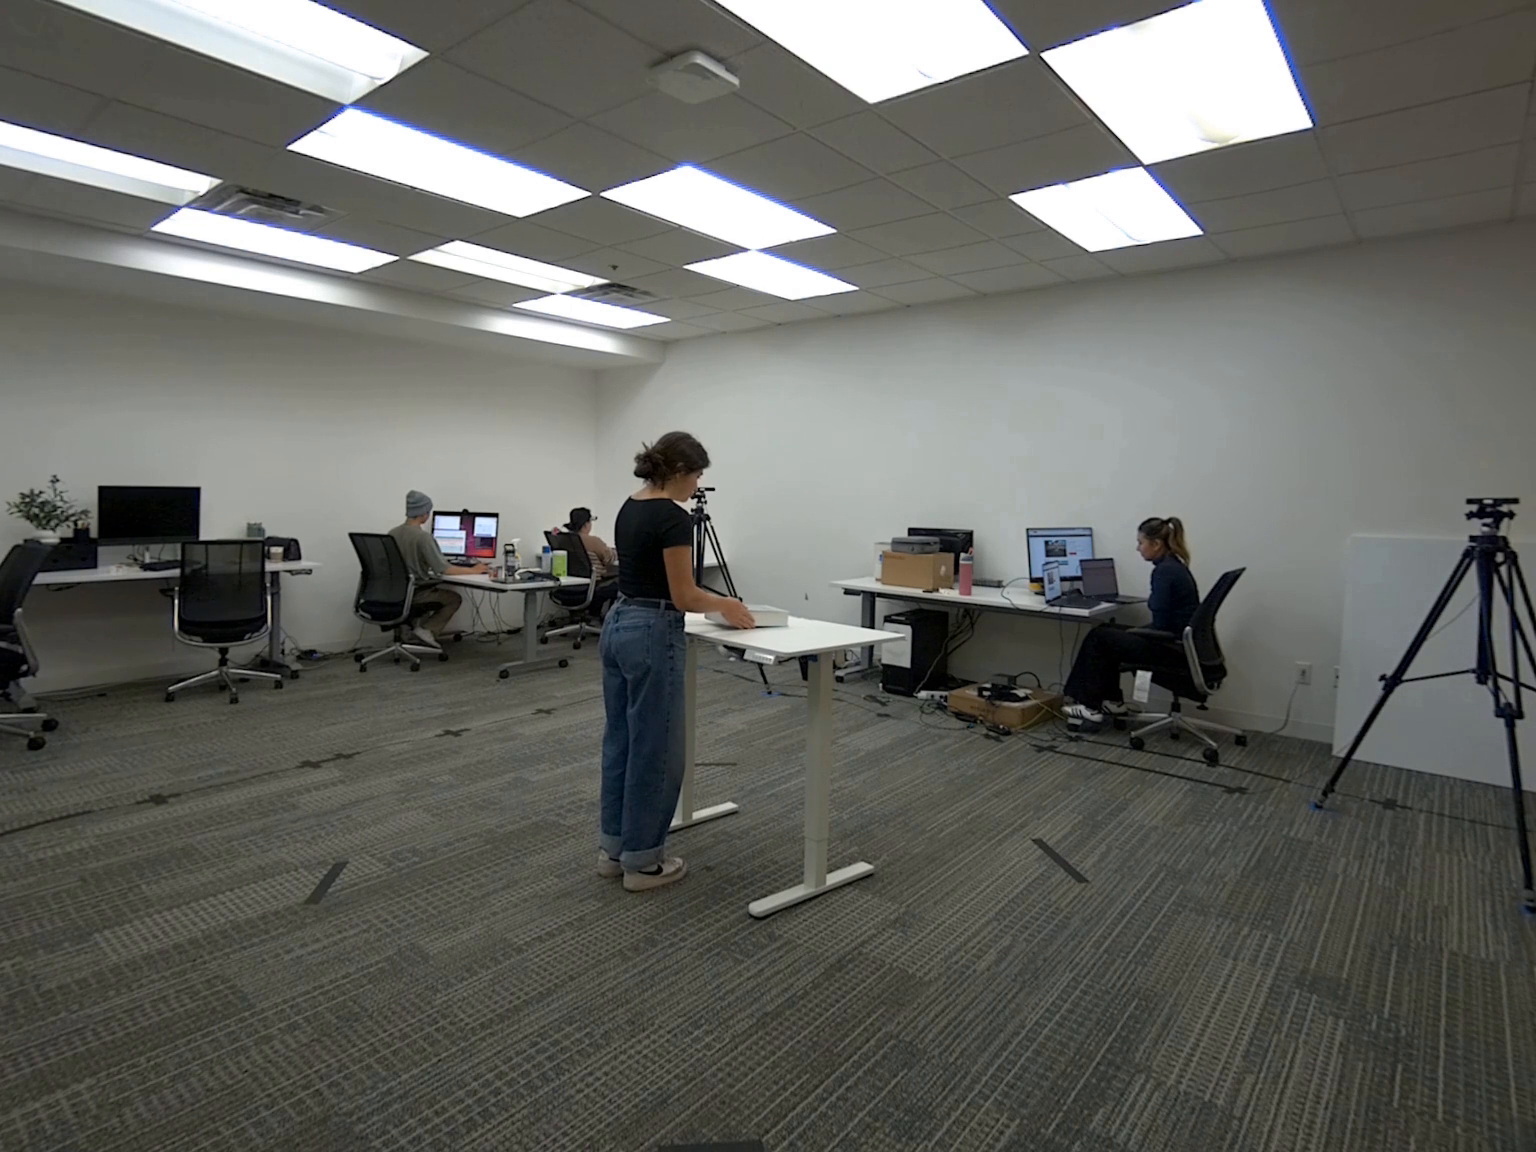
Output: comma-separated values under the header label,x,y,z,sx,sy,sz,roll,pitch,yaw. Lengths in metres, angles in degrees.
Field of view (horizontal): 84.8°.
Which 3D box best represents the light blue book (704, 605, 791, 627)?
label,x,y,z,sx,sy,sz,roll,pitch,yaw
light blue book,-0.079,0.146,3.164,0.254,0.059,0.197,2,3,-30
